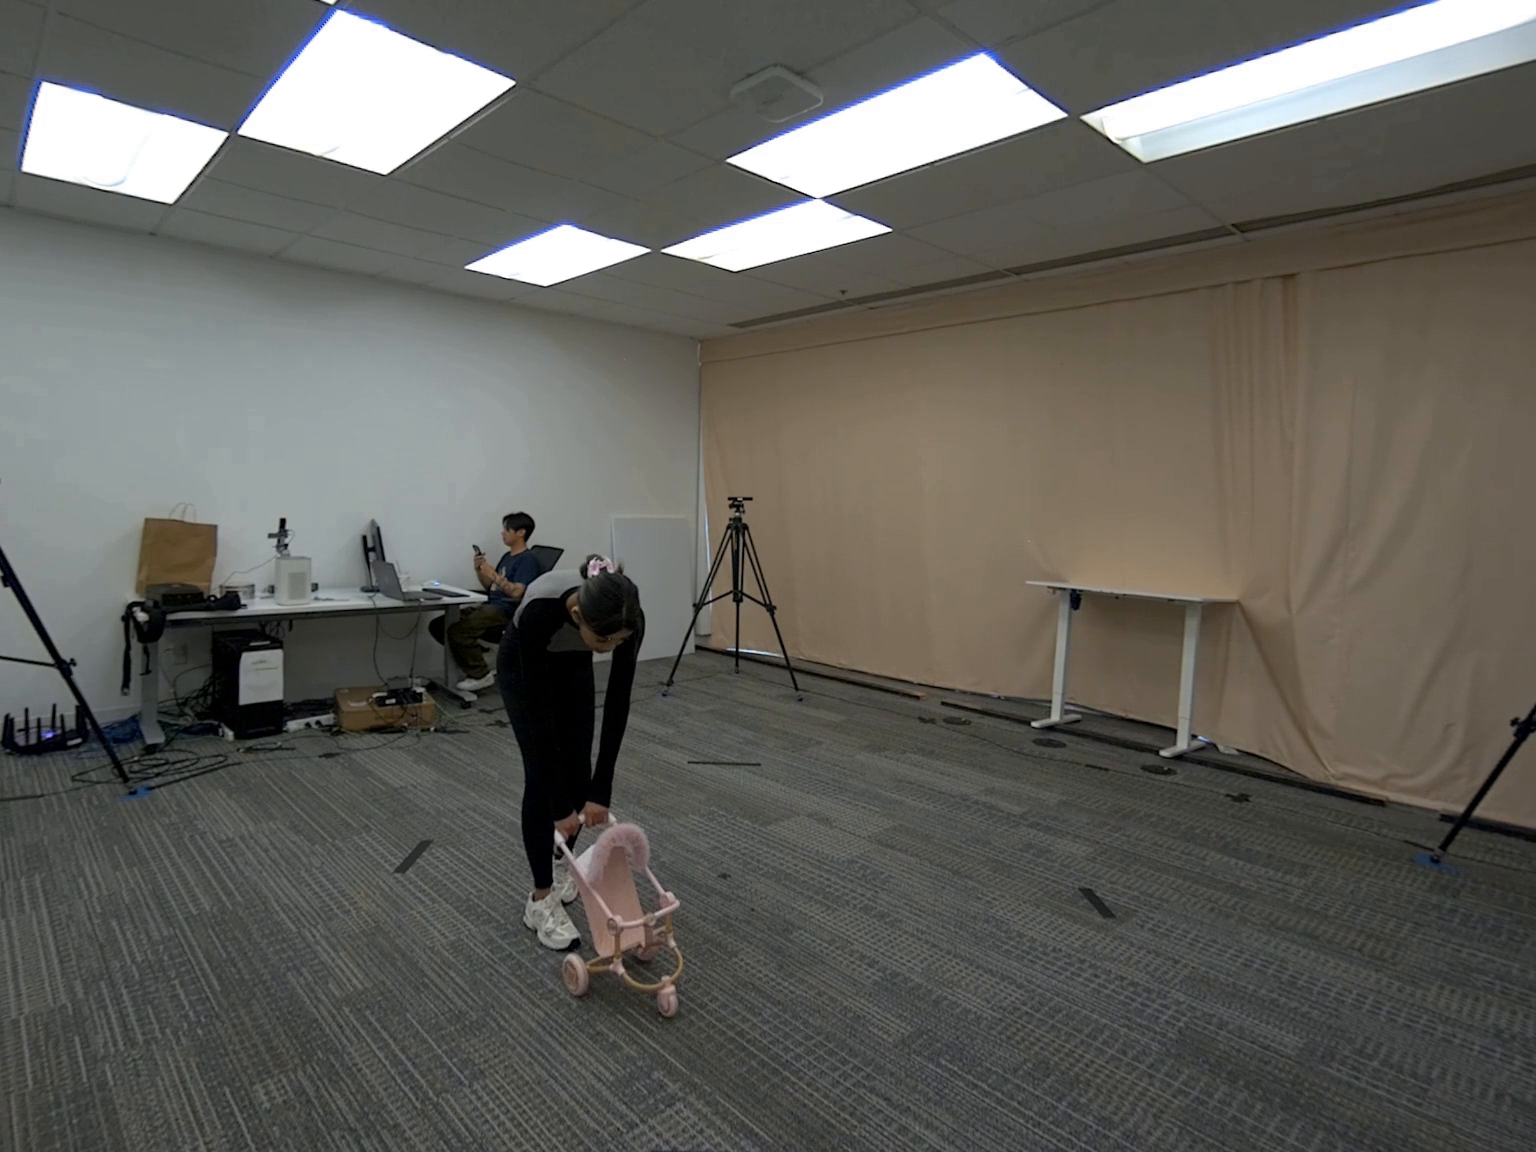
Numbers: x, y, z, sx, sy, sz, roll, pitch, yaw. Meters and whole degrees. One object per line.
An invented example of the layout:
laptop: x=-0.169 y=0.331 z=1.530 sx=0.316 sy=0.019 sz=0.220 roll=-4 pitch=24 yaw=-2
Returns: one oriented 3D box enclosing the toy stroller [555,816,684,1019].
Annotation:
toy stroller: x=-0.414 y=0.944 z=2.378 sx=0.275 sy=0.539 sz=0.346 roll=-3 pitch=-11 yaw=-43
